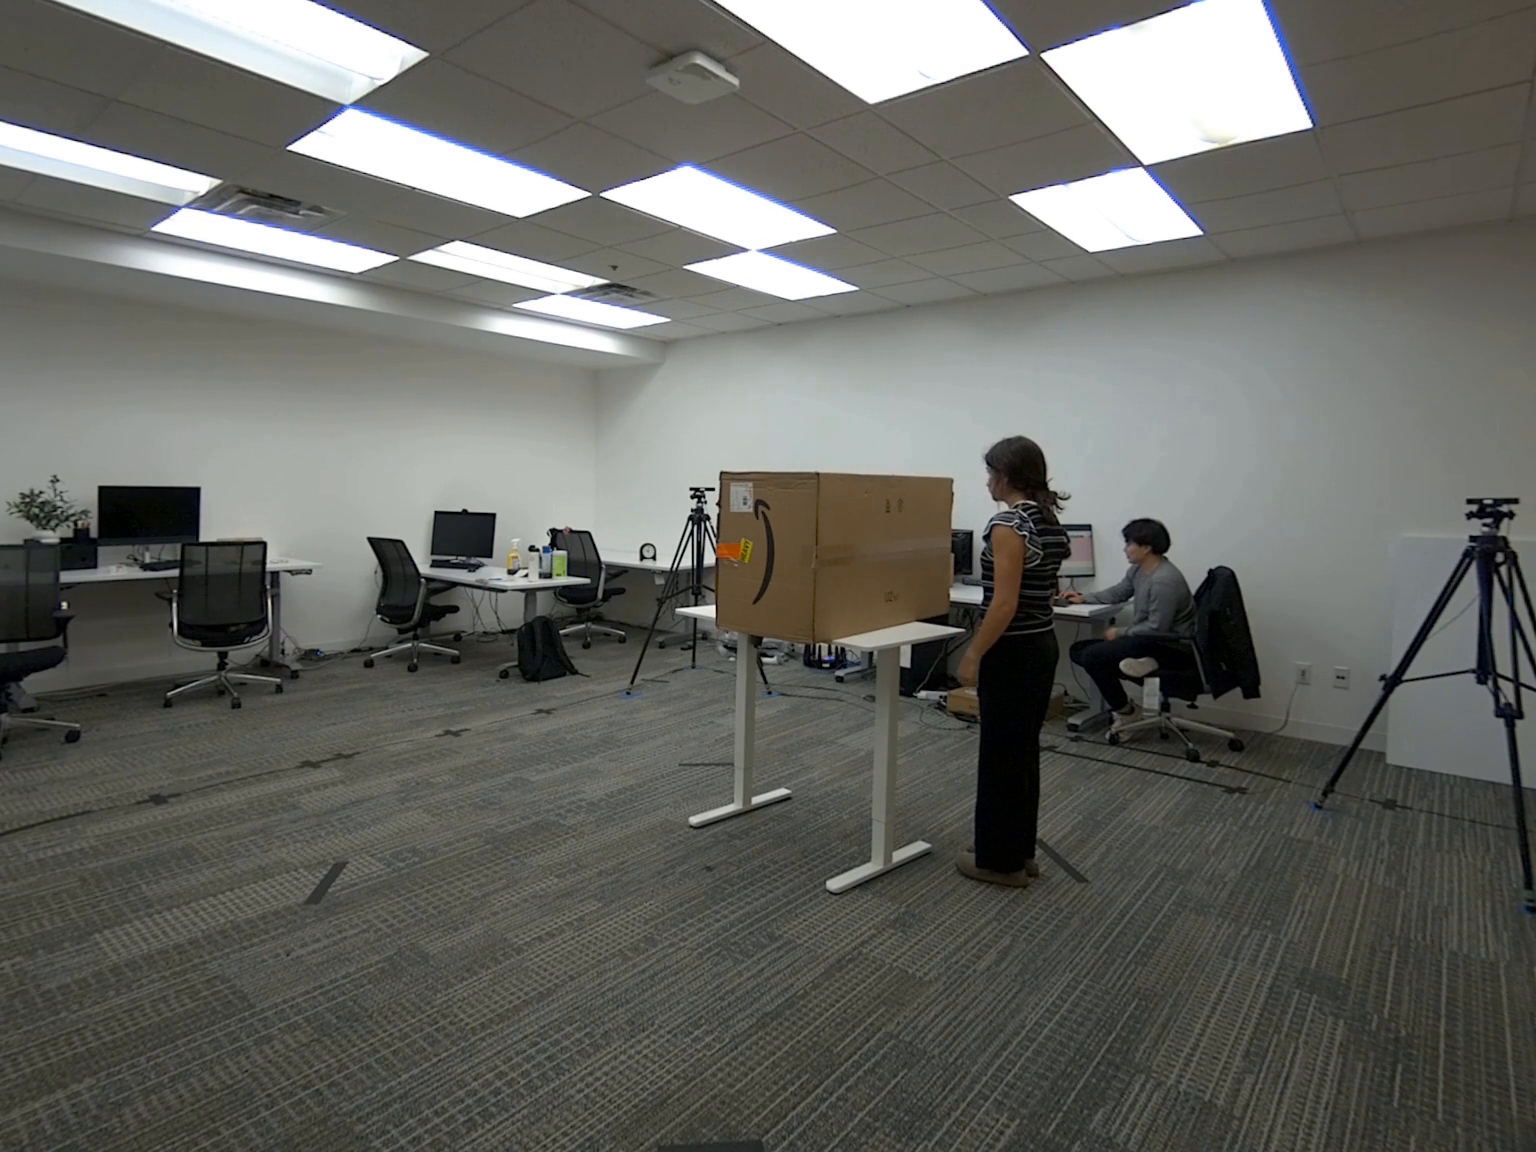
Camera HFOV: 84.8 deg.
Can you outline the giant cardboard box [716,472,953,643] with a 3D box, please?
[{"bbox_3d":[0.279,-0.114,3.312,0.440,0.575,0.996,4,6,38],"label":"giant cardboard box"}]
